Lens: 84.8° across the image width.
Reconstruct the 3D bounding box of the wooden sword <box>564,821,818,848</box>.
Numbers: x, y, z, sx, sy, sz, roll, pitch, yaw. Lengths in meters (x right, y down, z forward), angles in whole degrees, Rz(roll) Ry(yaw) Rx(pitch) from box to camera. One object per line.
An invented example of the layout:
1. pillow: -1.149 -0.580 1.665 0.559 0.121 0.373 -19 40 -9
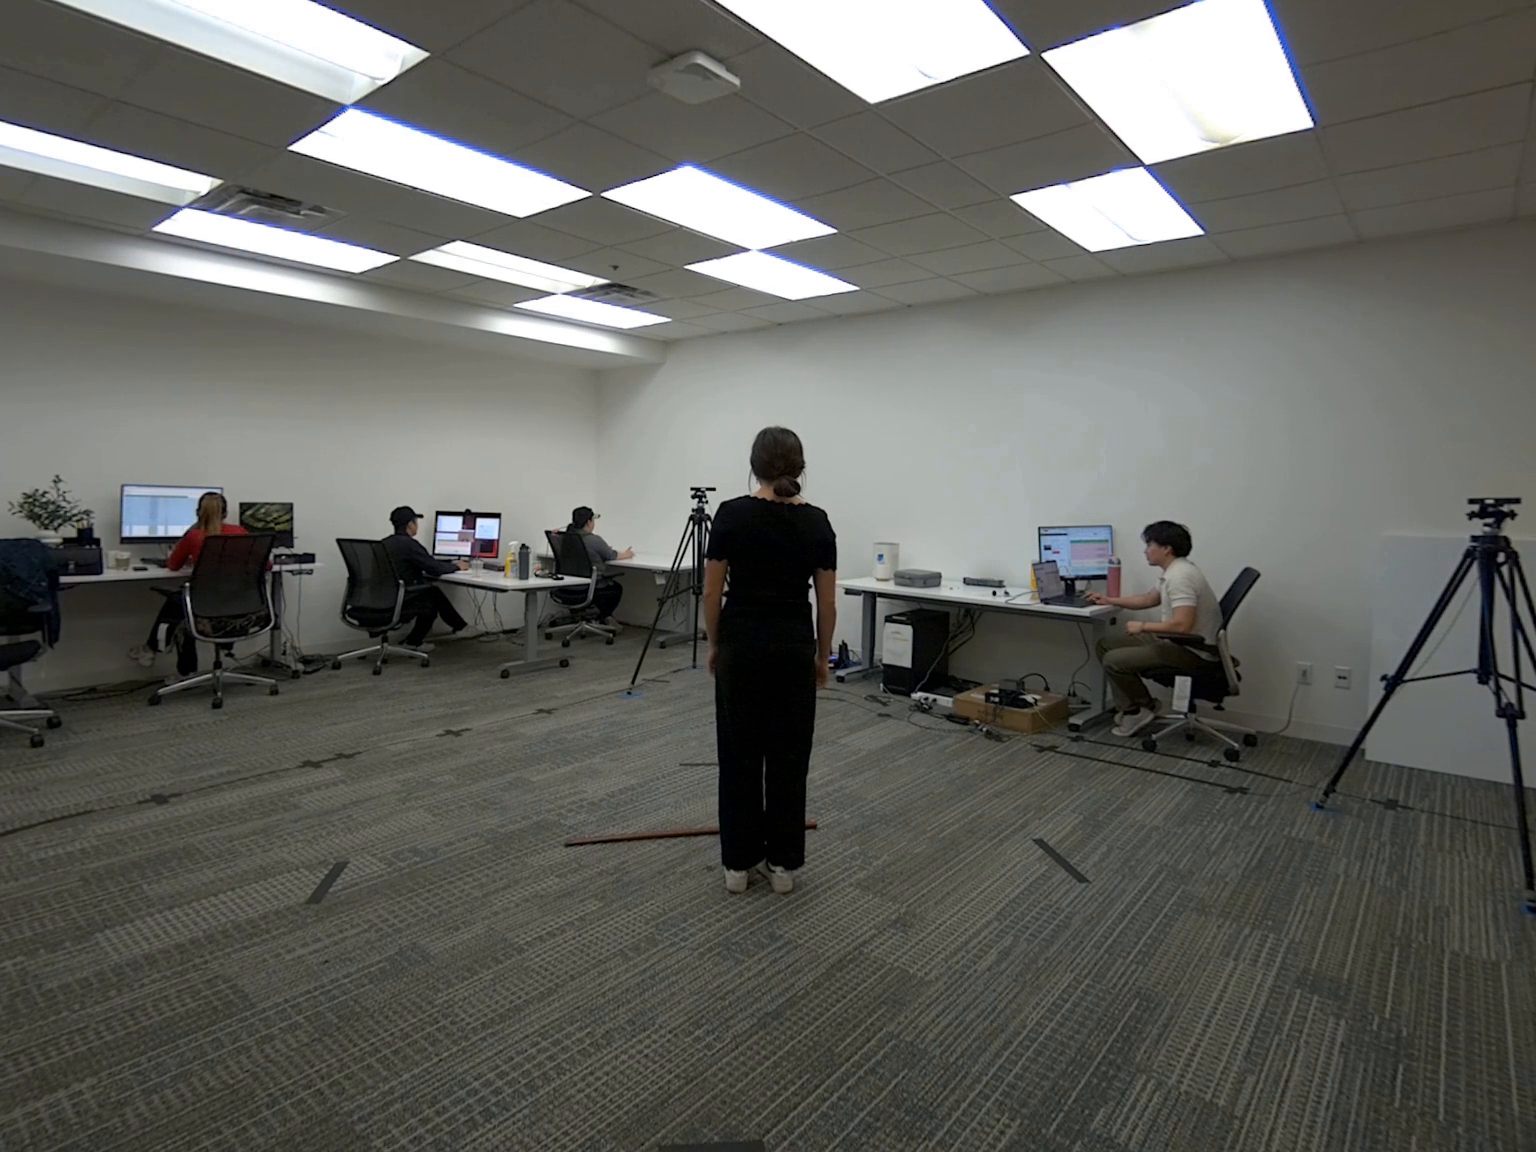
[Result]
1. wooden sword: -0.310 1.018 3.395 1.012 0.023 0.053 -1 38 -11
